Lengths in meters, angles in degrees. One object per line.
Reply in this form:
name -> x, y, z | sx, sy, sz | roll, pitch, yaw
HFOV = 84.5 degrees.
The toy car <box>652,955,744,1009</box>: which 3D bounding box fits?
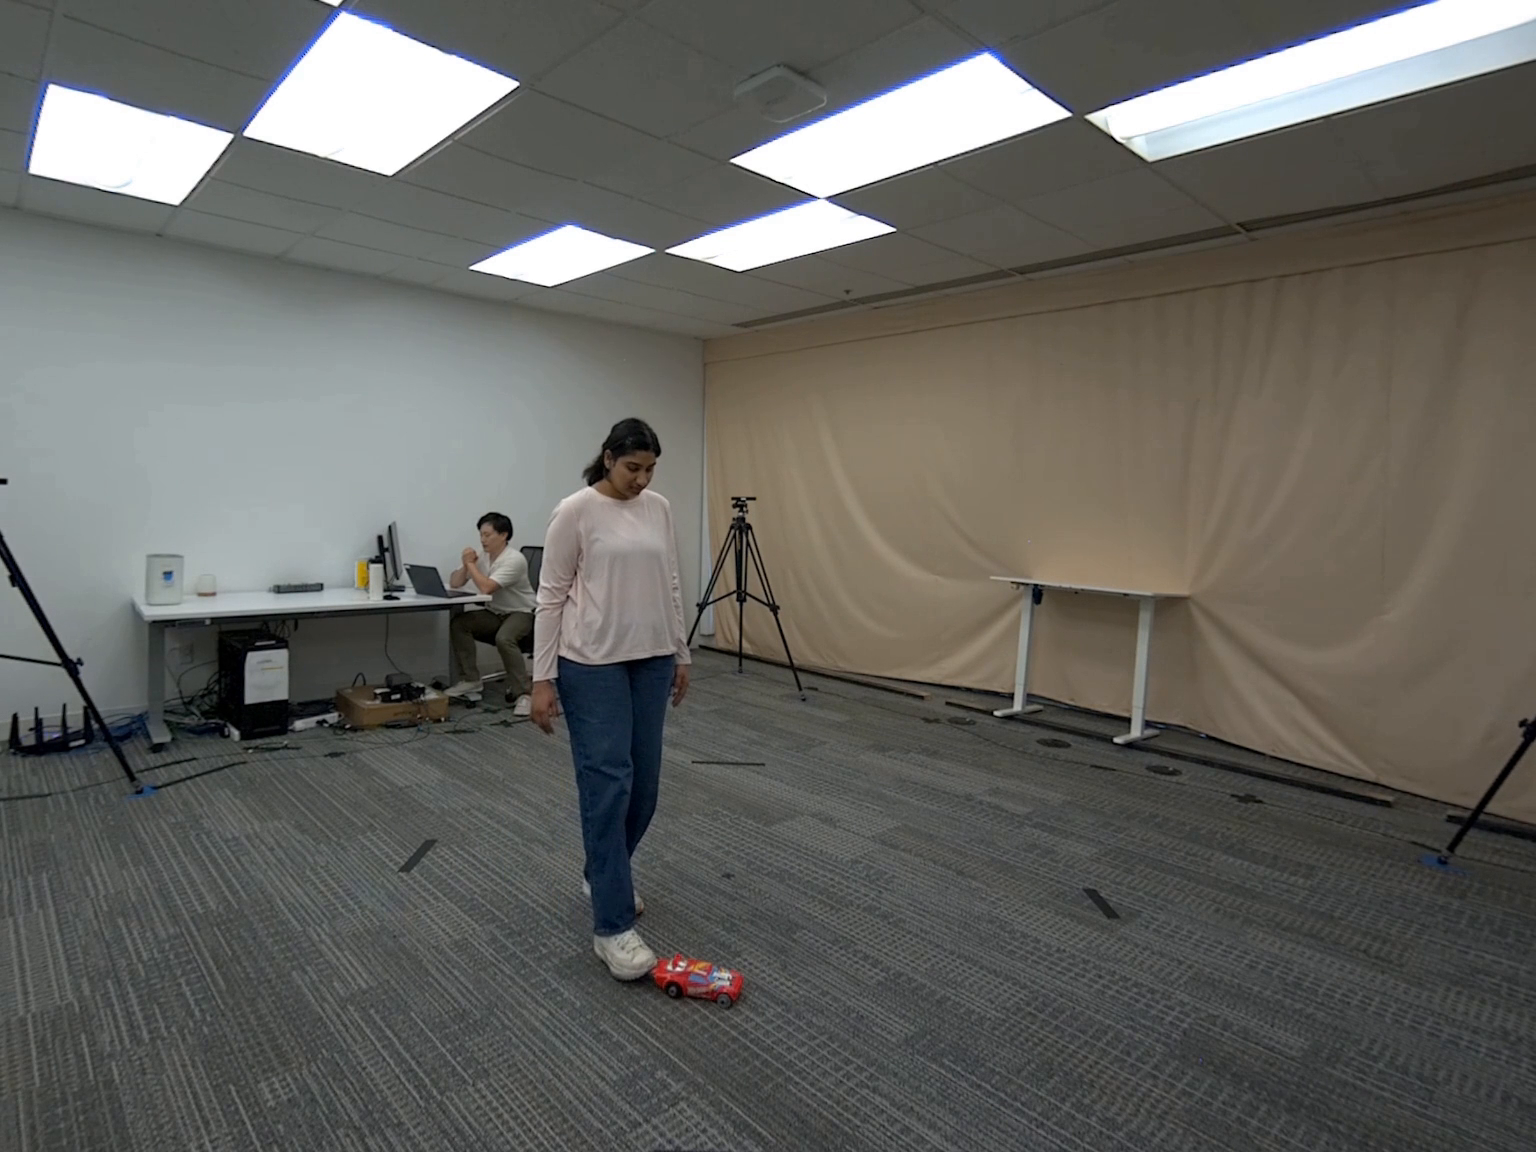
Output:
toy car -> -0.209, 1.143, 2.362 | 0.258, 0.083, 0.129 | 13, 6, 12
